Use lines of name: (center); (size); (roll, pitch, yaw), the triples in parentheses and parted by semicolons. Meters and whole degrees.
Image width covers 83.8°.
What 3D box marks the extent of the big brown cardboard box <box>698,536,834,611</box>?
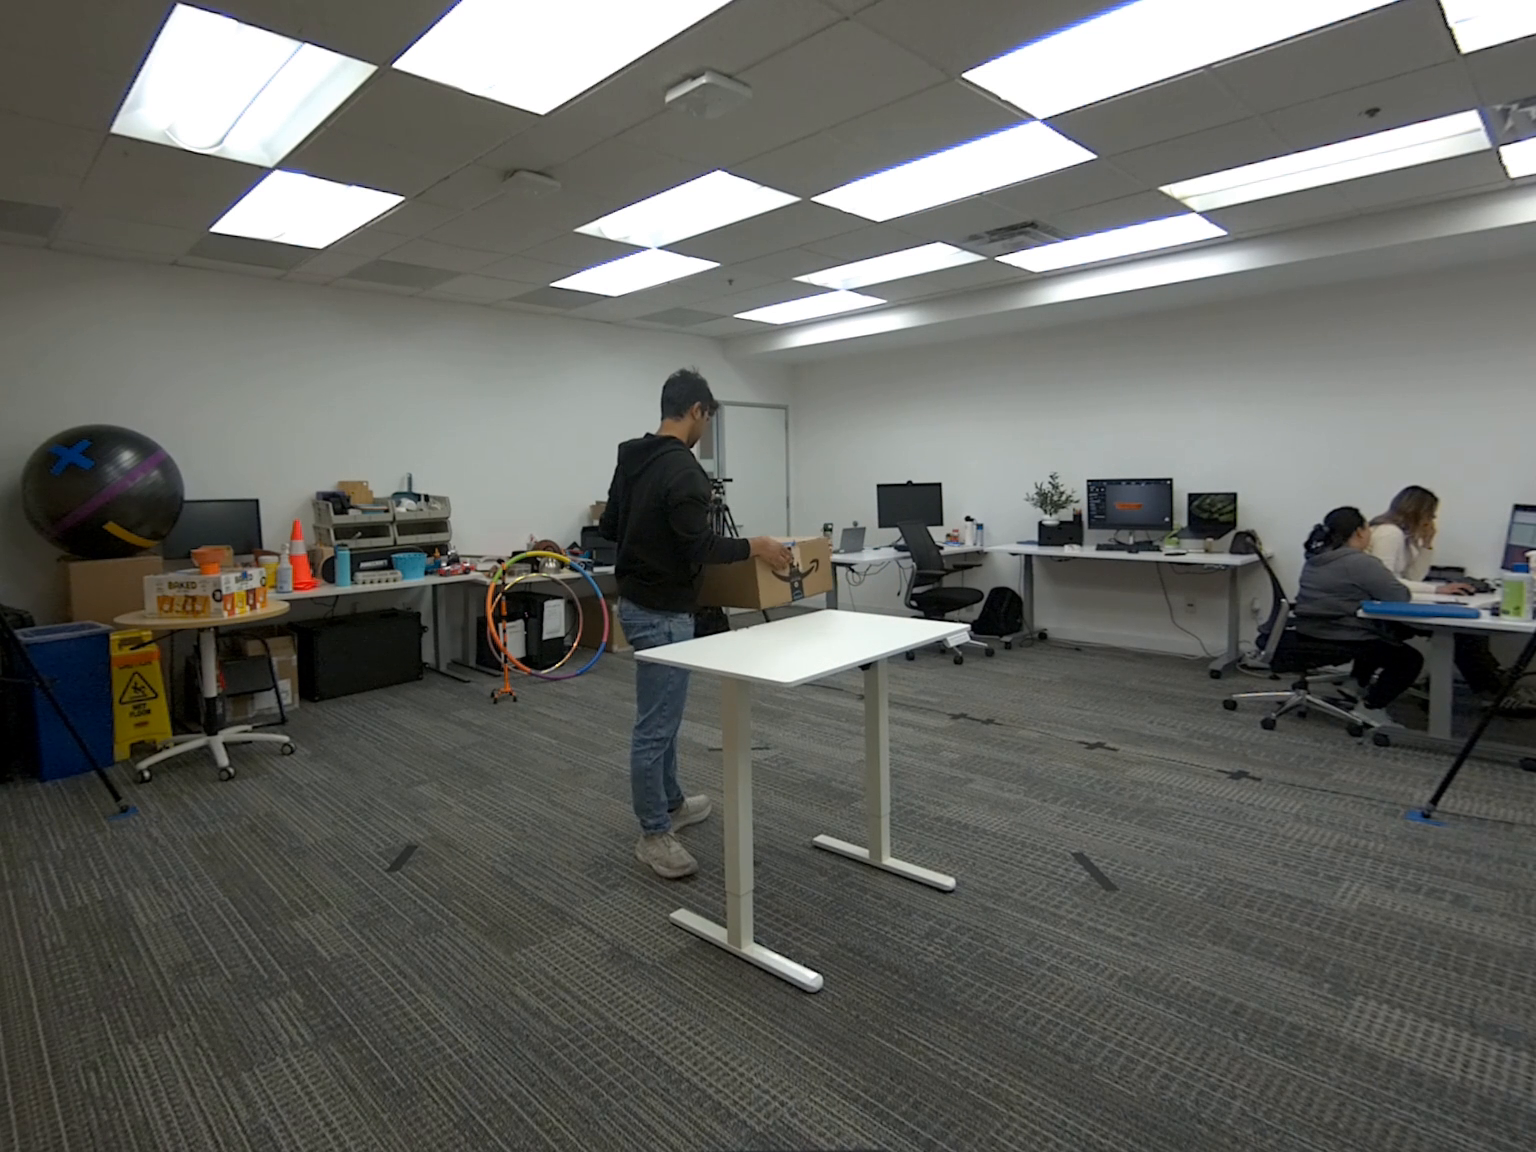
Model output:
big brown cardboard box: (-0.095, -0.016, 3.459); (0.408, 0.231, 0.607); (-13, 11, -44)
